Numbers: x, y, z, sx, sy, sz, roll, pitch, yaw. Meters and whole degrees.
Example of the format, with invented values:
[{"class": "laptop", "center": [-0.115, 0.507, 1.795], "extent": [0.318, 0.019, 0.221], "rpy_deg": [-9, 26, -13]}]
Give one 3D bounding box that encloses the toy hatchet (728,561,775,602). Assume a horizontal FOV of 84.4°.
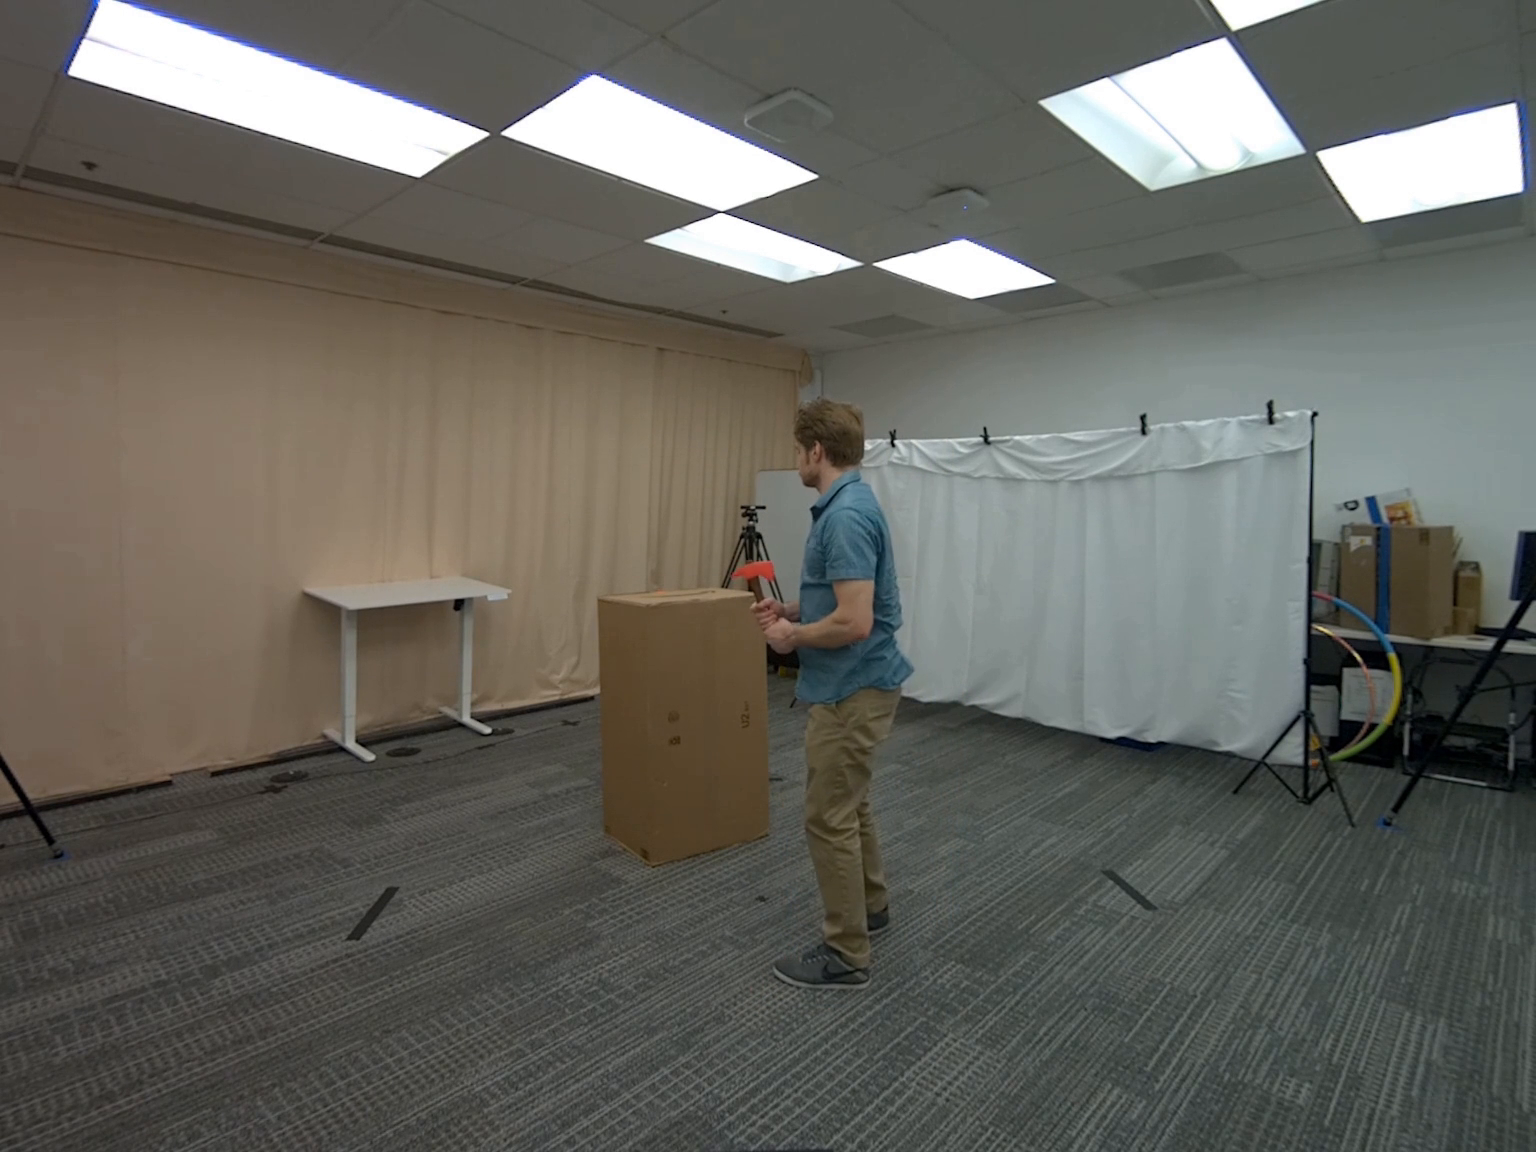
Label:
[{"class": "toy hatchet", "center": [0.026, 0.064, 2.537], "extent": [0.132, 0.271, 0.029], "rpy_deg": [-37, -2, 11]}]
